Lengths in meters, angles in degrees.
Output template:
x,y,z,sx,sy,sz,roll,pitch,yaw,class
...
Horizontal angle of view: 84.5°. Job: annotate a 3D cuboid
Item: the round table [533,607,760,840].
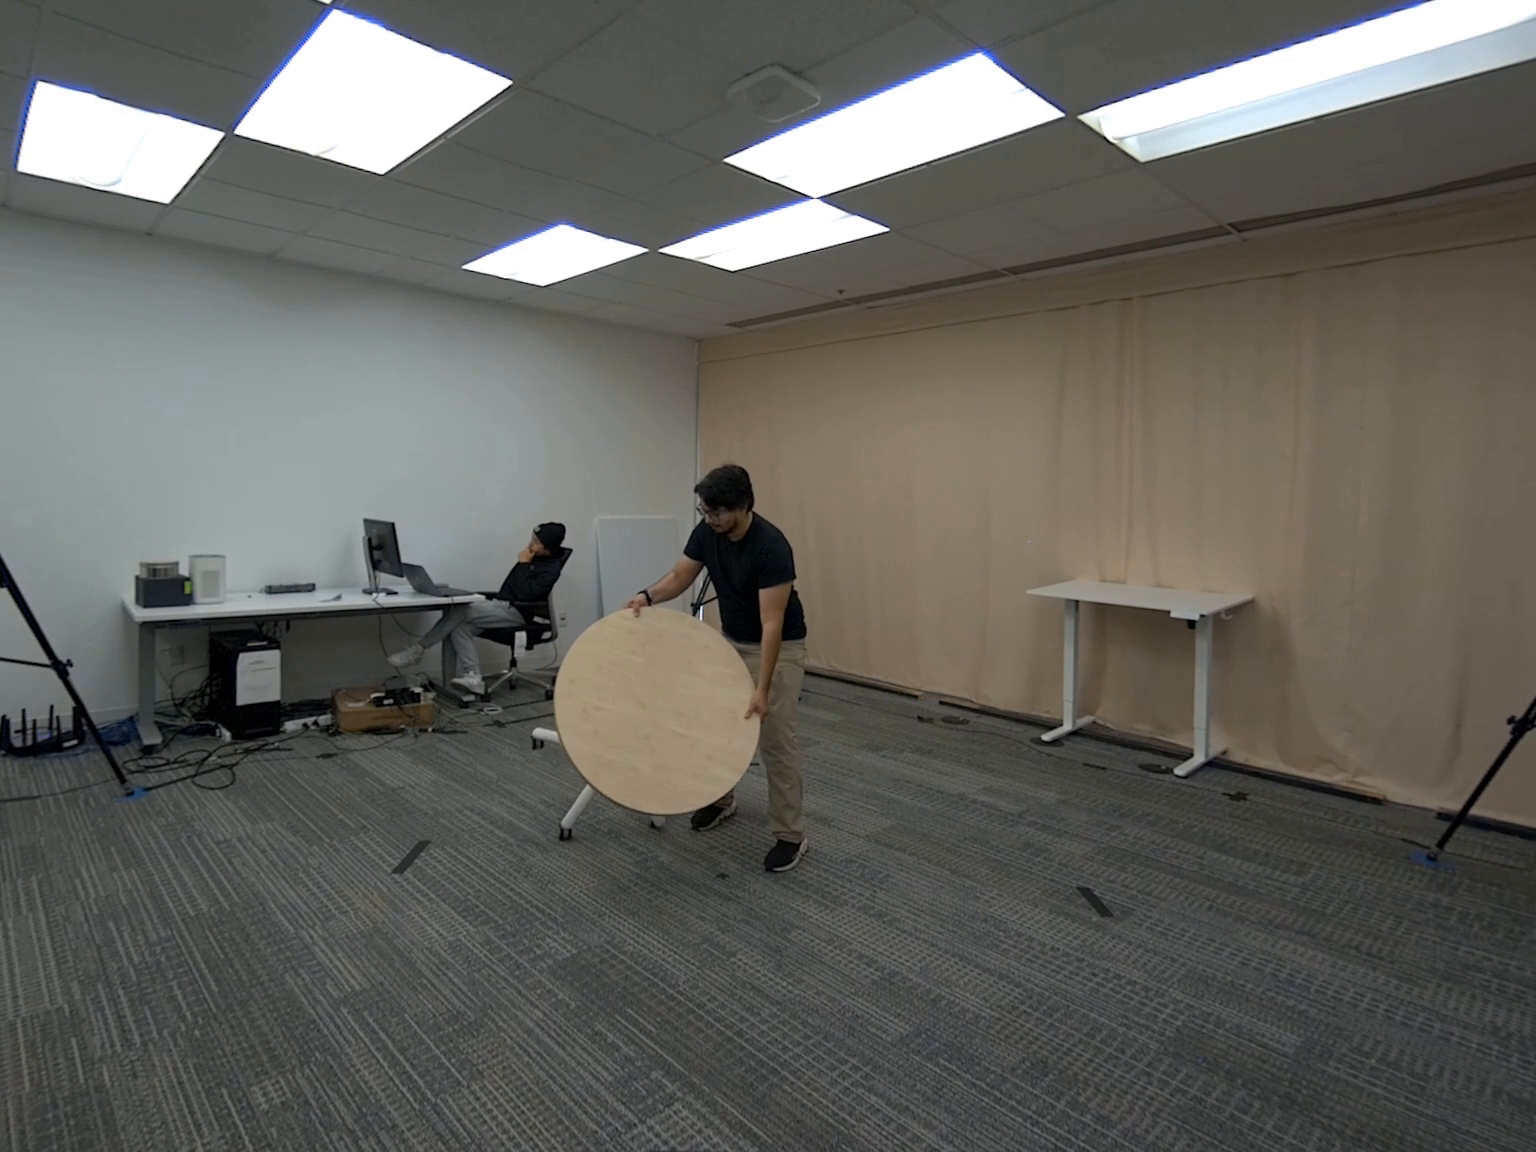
x,y,z,sx,sy,sz,roll,pitch,yaw,class
-0.547,0.635,3.314,0.770,0.802,0.784,-1,-29,-26,round table
